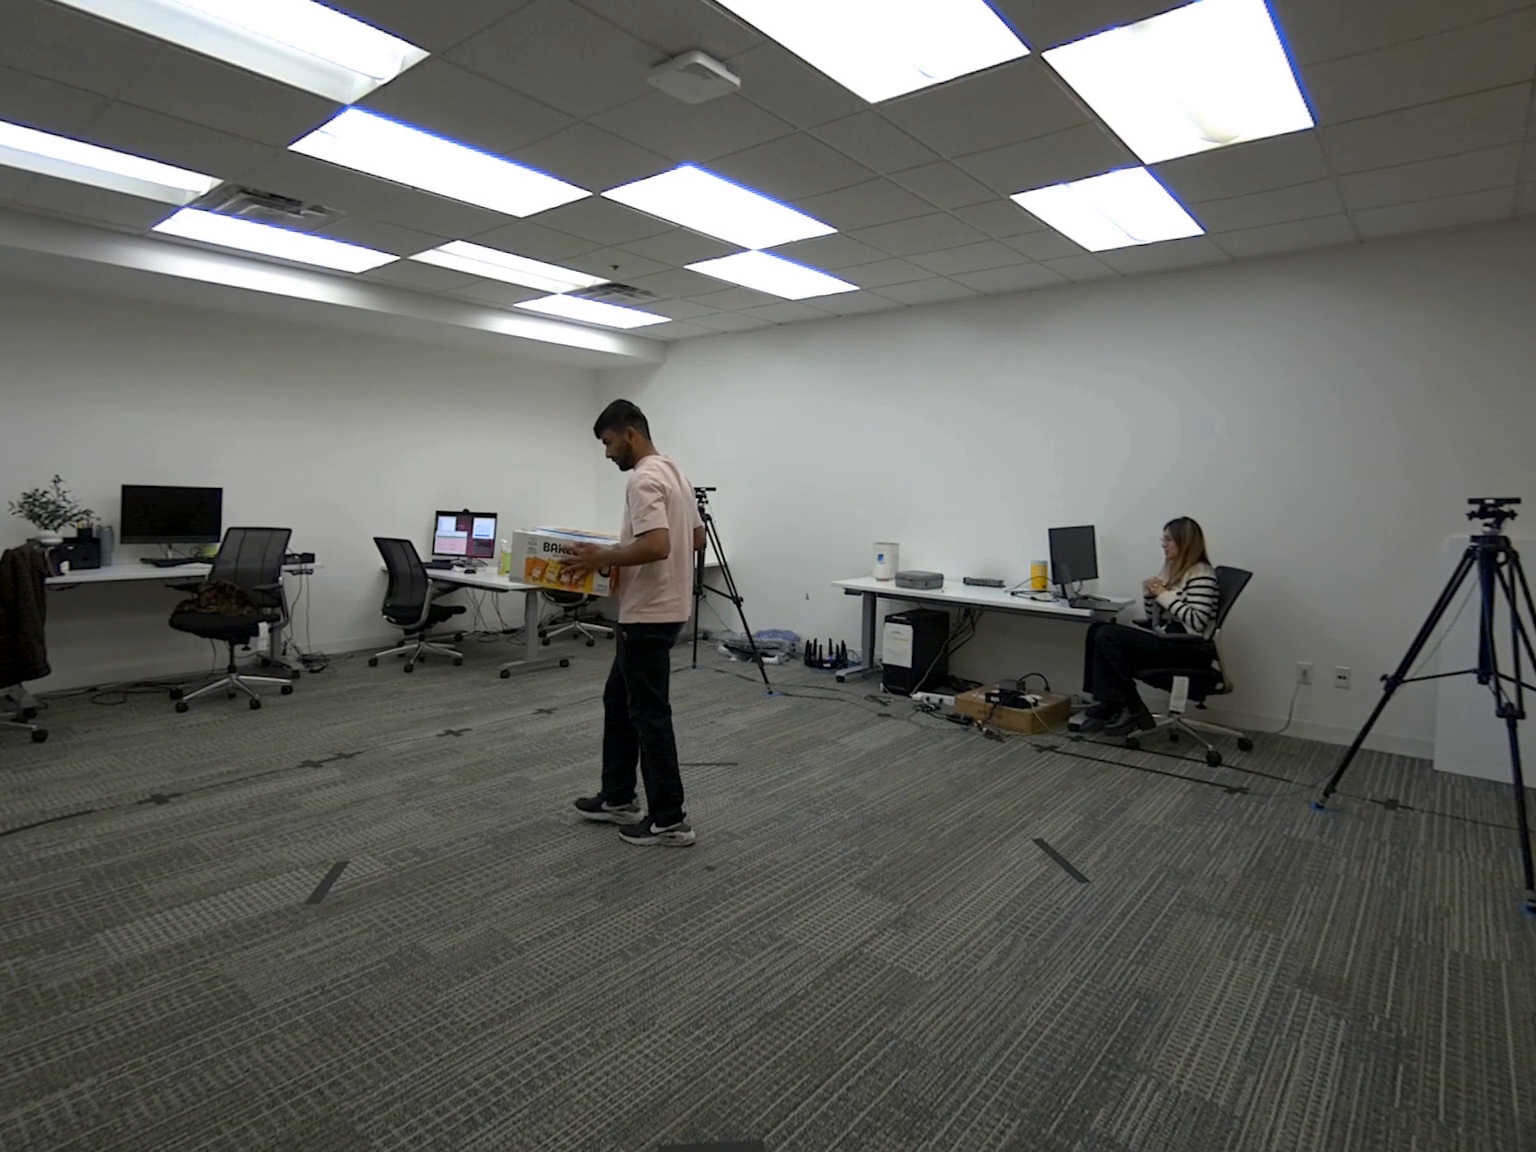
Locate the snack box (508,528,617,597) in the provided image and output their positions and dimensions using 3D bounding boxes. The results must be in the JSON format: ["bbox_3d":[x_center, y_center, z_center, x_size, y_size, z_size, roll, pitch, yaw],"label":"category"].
[{"bbox_3d":[-0.783,-0.068,3.405,0.410,0.205,0.338,8,6,10],"label":"snack box"}]
